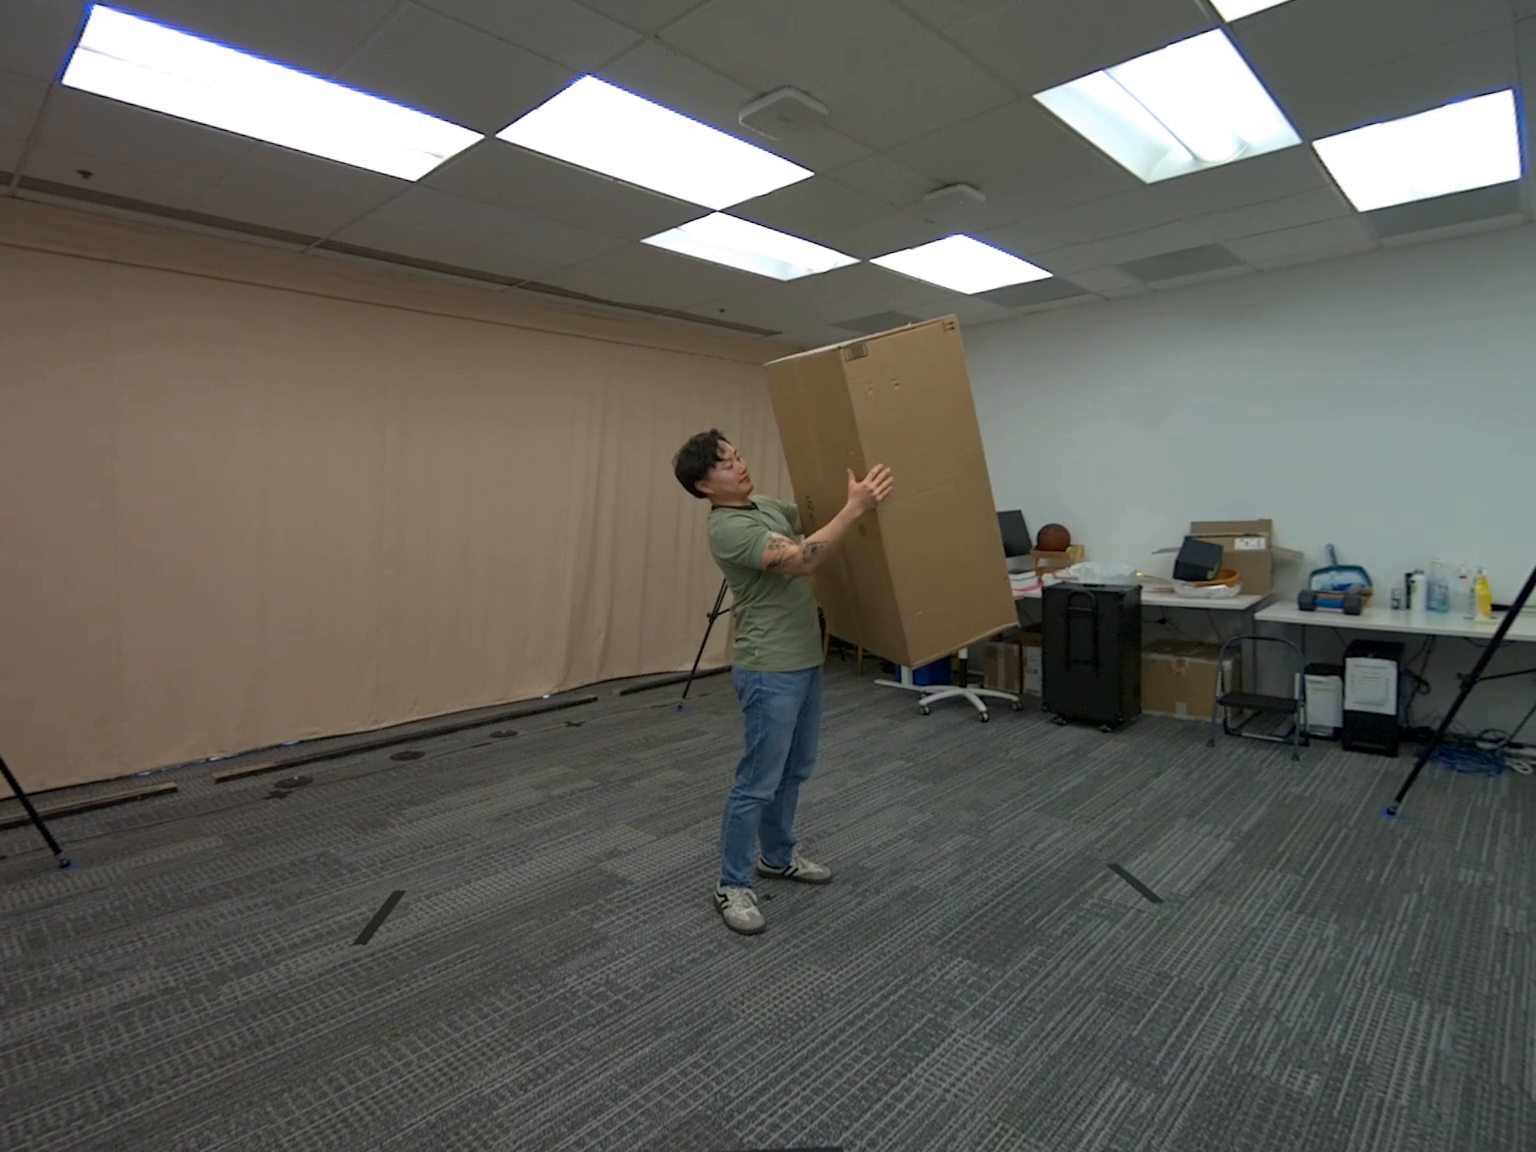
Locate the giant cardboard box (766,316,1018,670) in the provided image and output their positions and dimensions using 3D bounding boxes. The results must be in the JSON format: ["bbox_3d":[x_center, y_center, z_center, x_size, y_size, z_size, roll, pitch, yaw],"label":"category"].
[{"bbox_3d":[0.398,-0.276,2.867,0.420,1.015,0.592,-19,13,-20],"label":"giant cardboard box"}]
